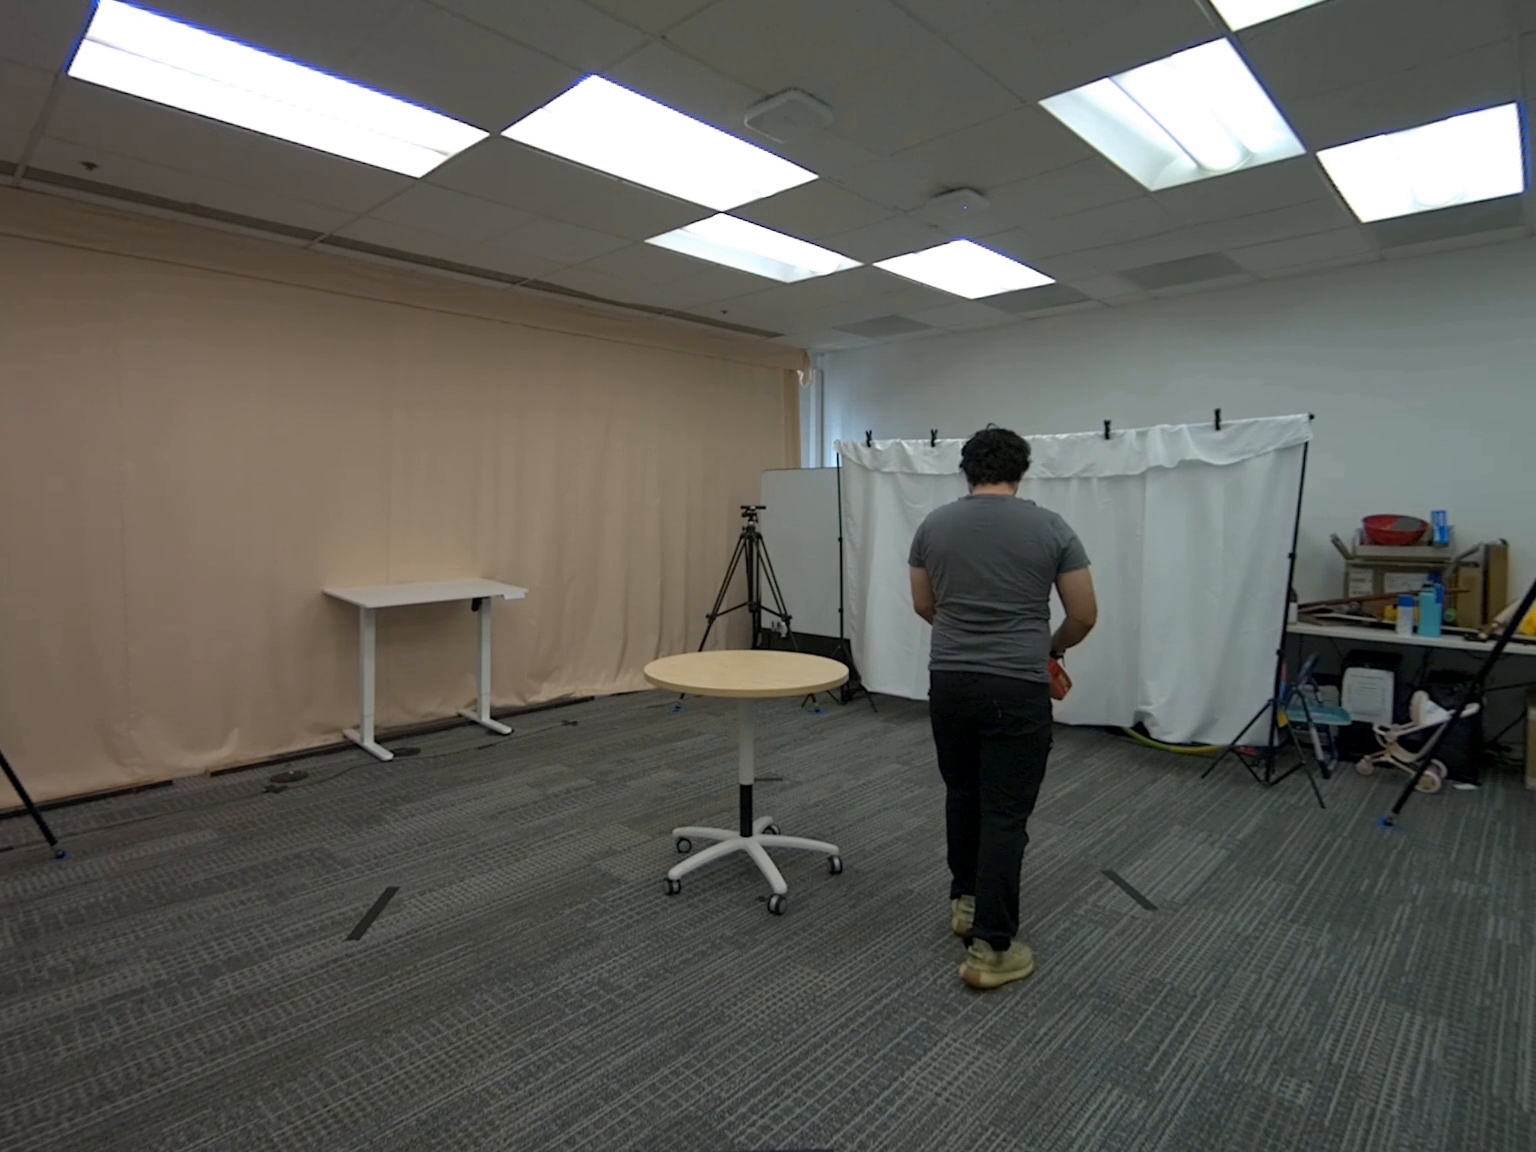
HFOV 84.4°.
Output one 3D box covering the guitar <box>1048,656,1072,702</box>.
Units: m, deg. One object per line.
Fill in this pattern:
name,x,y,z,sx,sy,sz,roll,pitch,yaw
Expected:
guitar,0.814,0.283,2.856,0.070,0.188,0.512,-46,23,-12
